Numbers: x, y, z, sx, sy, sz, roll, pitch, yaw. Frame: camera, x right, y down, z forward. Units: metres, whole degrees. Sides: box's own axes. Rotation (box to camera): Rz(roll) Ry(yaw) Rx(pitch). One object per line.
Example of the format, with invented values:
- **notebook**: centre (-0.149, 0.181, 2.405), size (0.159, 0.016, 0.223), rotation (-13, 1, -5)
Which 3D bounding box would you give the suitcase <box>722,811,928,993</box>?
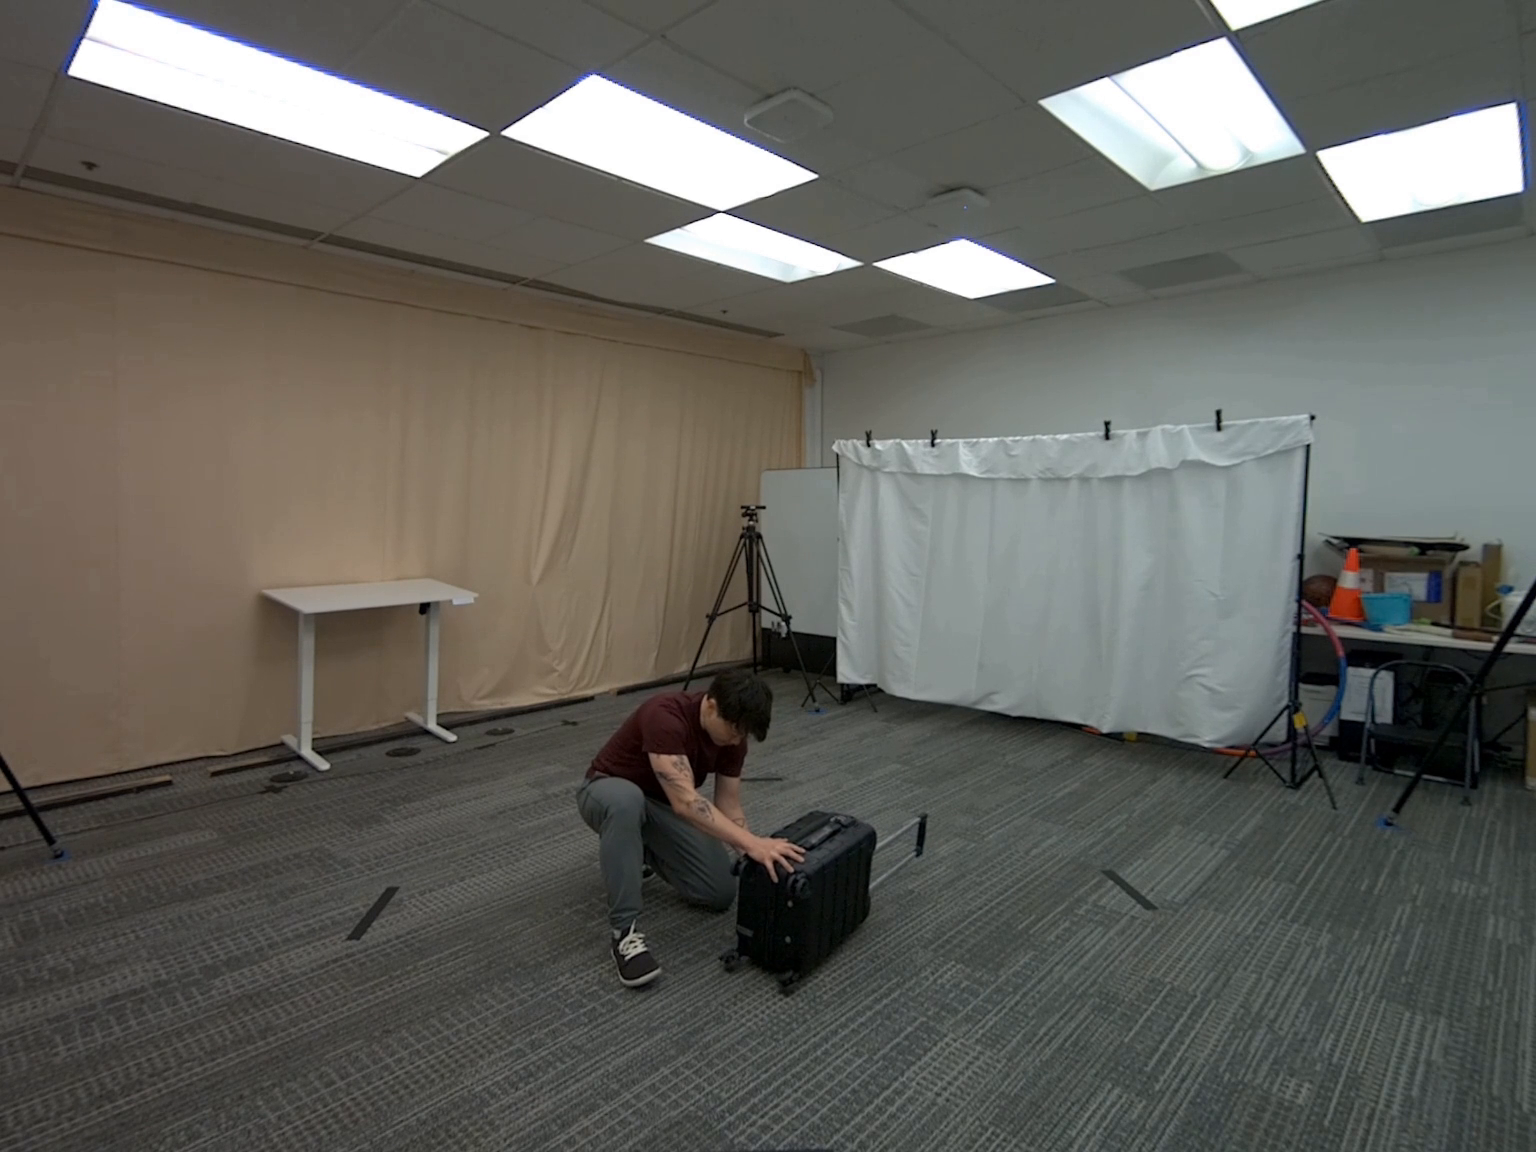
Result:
- **suitcase**: centre (0.239, 0.973, 2.814), size (0.265, 0.383, 0.951), rotation (7, 7, 32)
